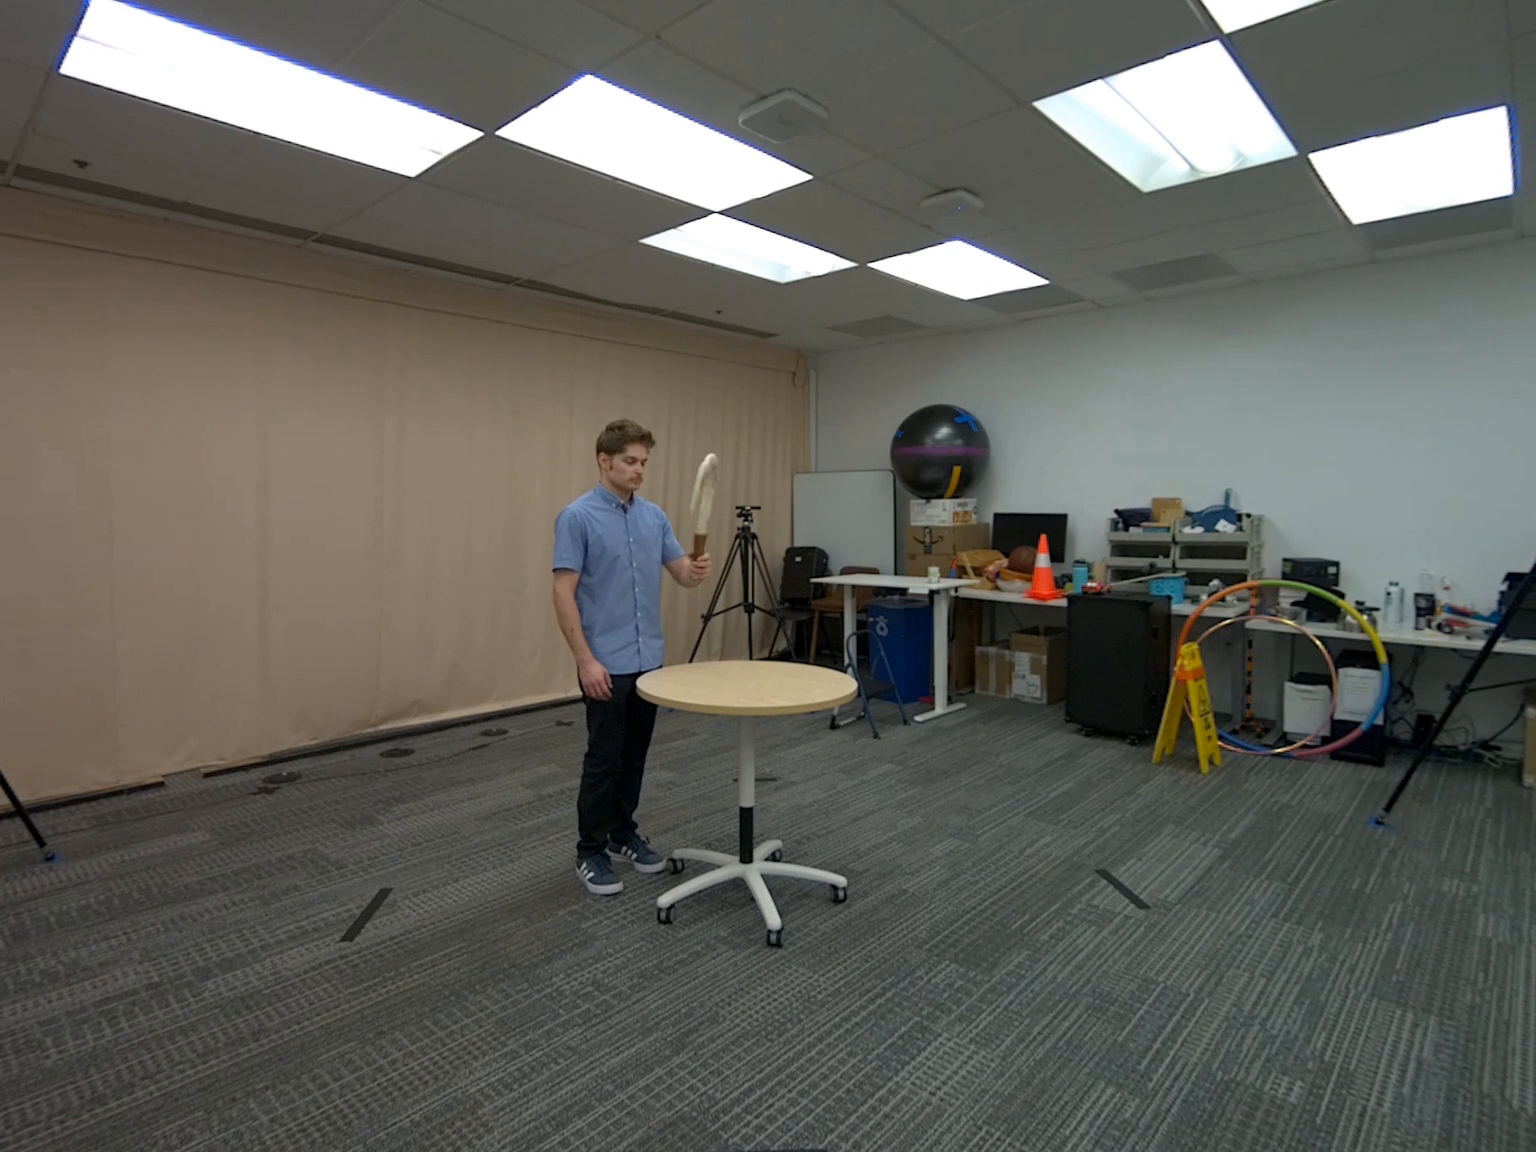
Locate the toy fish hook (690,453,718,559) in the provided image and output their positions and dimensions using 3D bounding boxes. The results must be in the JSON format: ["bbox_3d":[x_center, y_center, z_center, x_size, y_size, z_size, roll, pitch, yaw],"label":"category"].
[{"bbox_3d":[-0.237,-0.159,2.870,0.049,0.500,0.224,17,32,11],"label":"toy fish hook"}]
